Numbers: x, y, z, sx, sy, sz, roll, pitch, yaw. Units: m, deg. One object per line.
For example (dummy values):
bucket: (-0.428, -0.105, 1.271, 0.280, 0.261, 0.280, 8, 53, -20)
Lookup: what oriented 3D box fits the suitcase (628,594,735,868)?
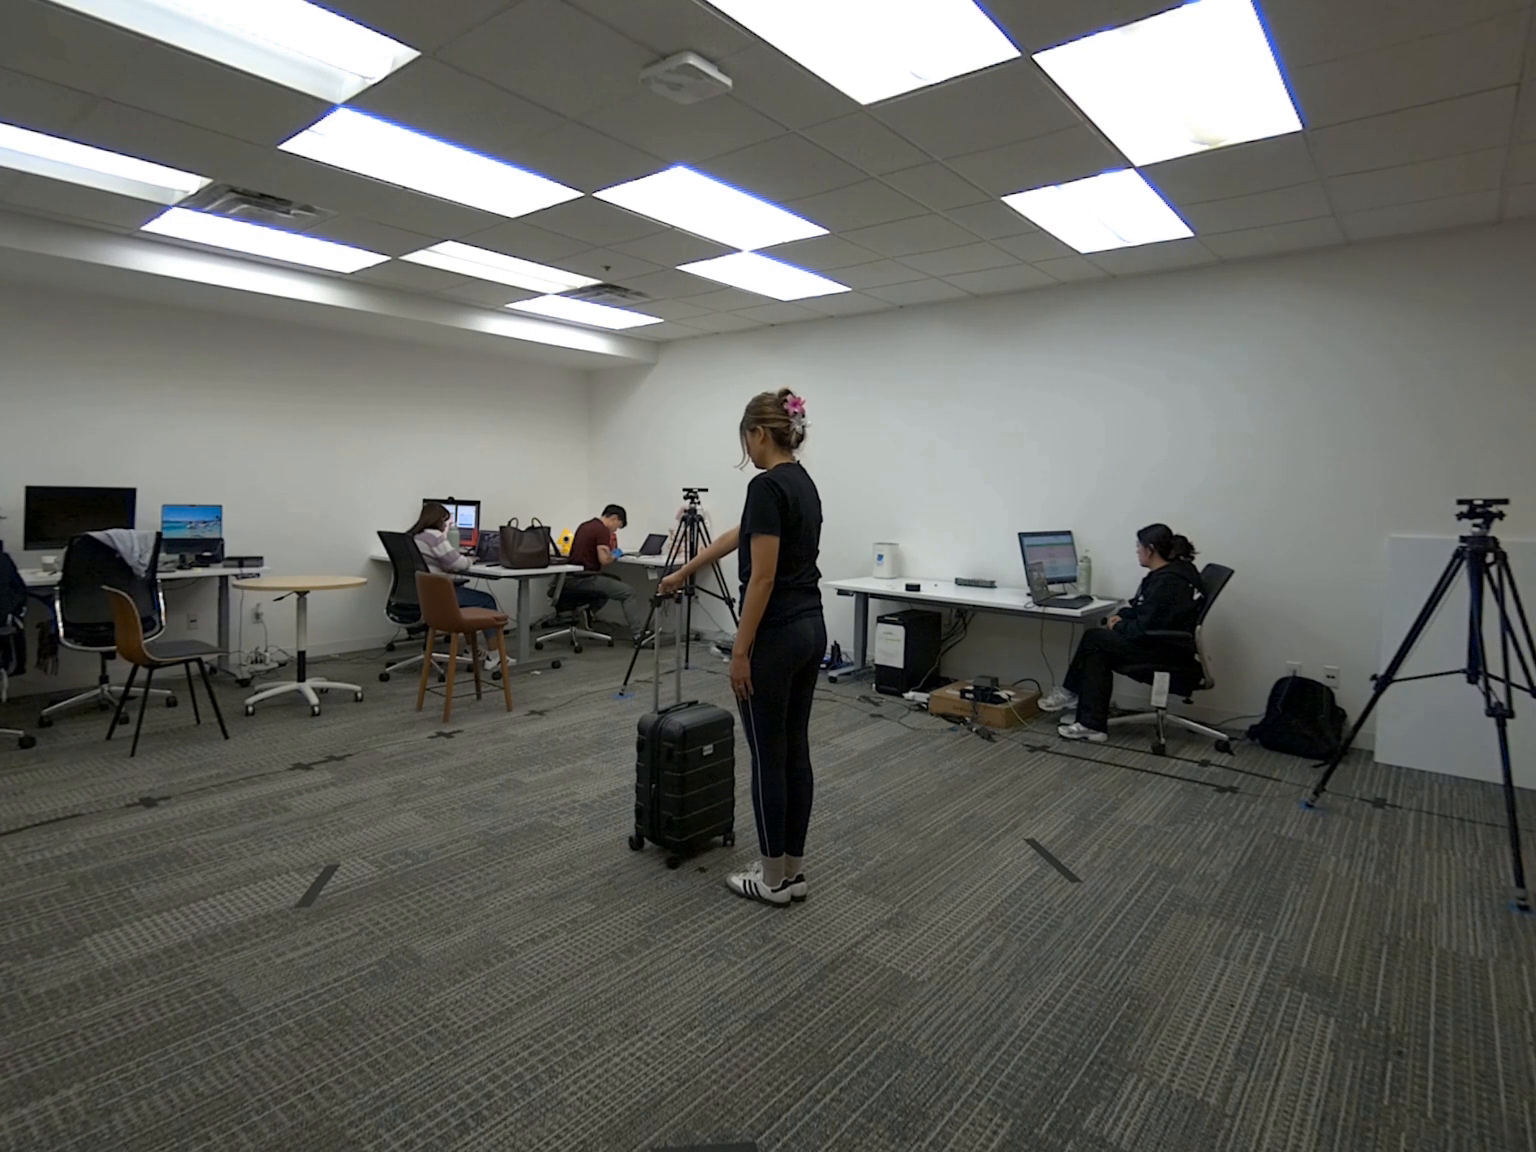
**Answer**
suitcase: (-0.323, 0.570, 3.287, 0.265, 0.976, 0.372, 3, 4, 40)
